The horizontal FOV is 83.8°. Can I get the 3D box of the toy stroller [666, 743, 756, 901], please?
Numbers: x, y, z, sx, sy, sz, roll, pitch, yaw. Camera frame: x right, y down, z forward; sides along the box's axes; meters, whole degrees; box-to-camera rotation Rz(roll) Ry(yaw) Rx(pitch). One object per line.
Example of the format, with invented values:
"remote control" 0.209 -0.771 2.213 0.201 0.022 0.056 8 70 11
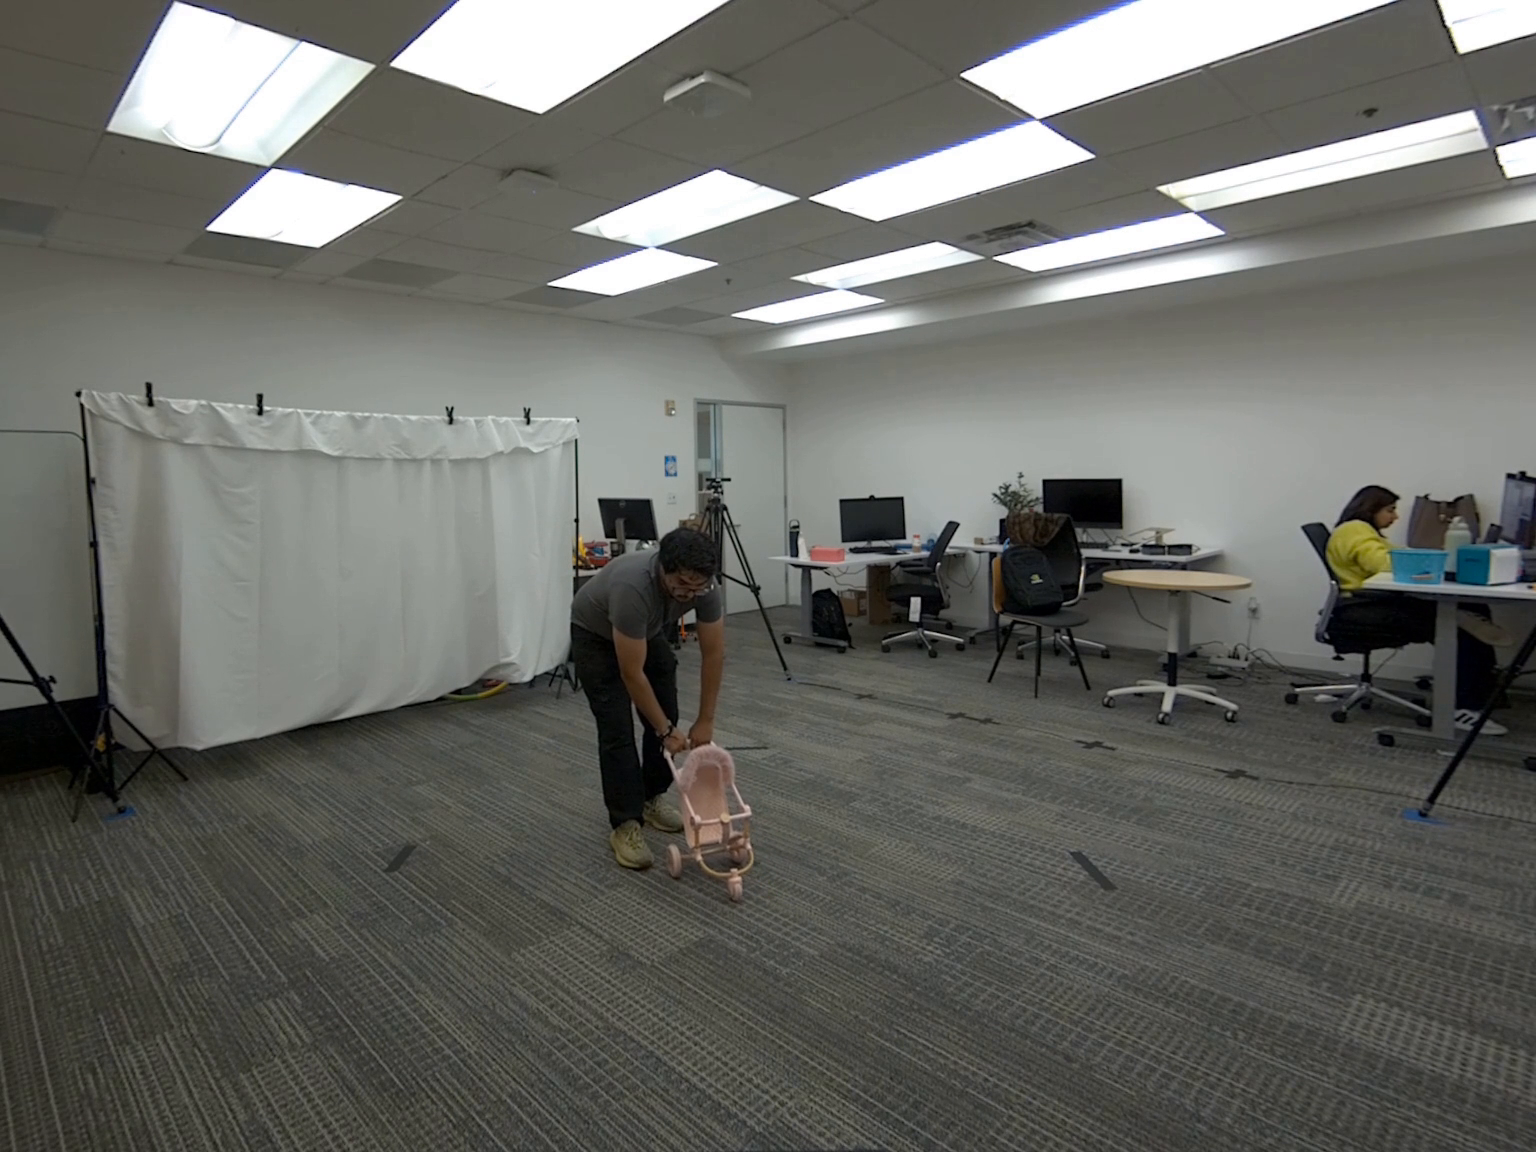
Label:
"toy stroller" -0.196 0.833 2.990 0.276 0.541 0.343 -3 -12 -22
